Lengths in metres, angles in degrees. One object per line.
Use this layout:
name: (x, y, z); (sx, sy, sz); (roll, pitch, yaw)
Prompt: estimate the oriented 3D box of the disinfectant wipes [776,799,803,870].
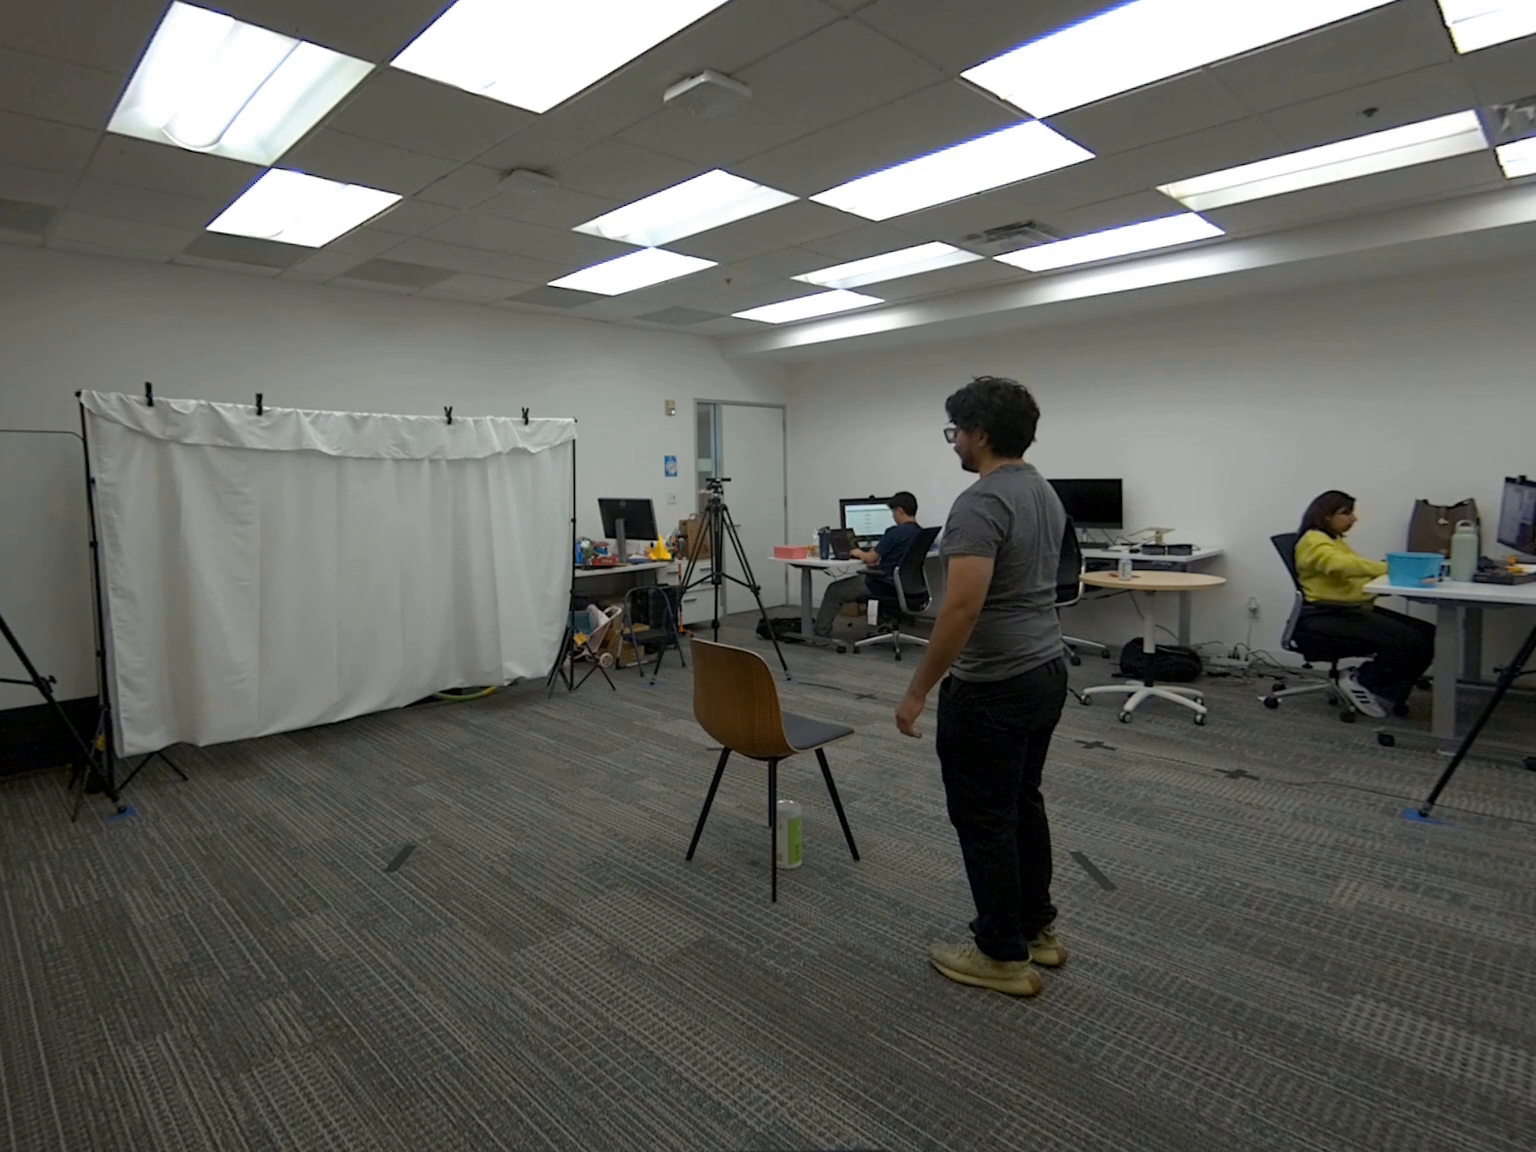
disinfectant wipes: (0.082, 0.944, 3.089); (0.118, 0.217, 0.118); (0, 4, -2)
